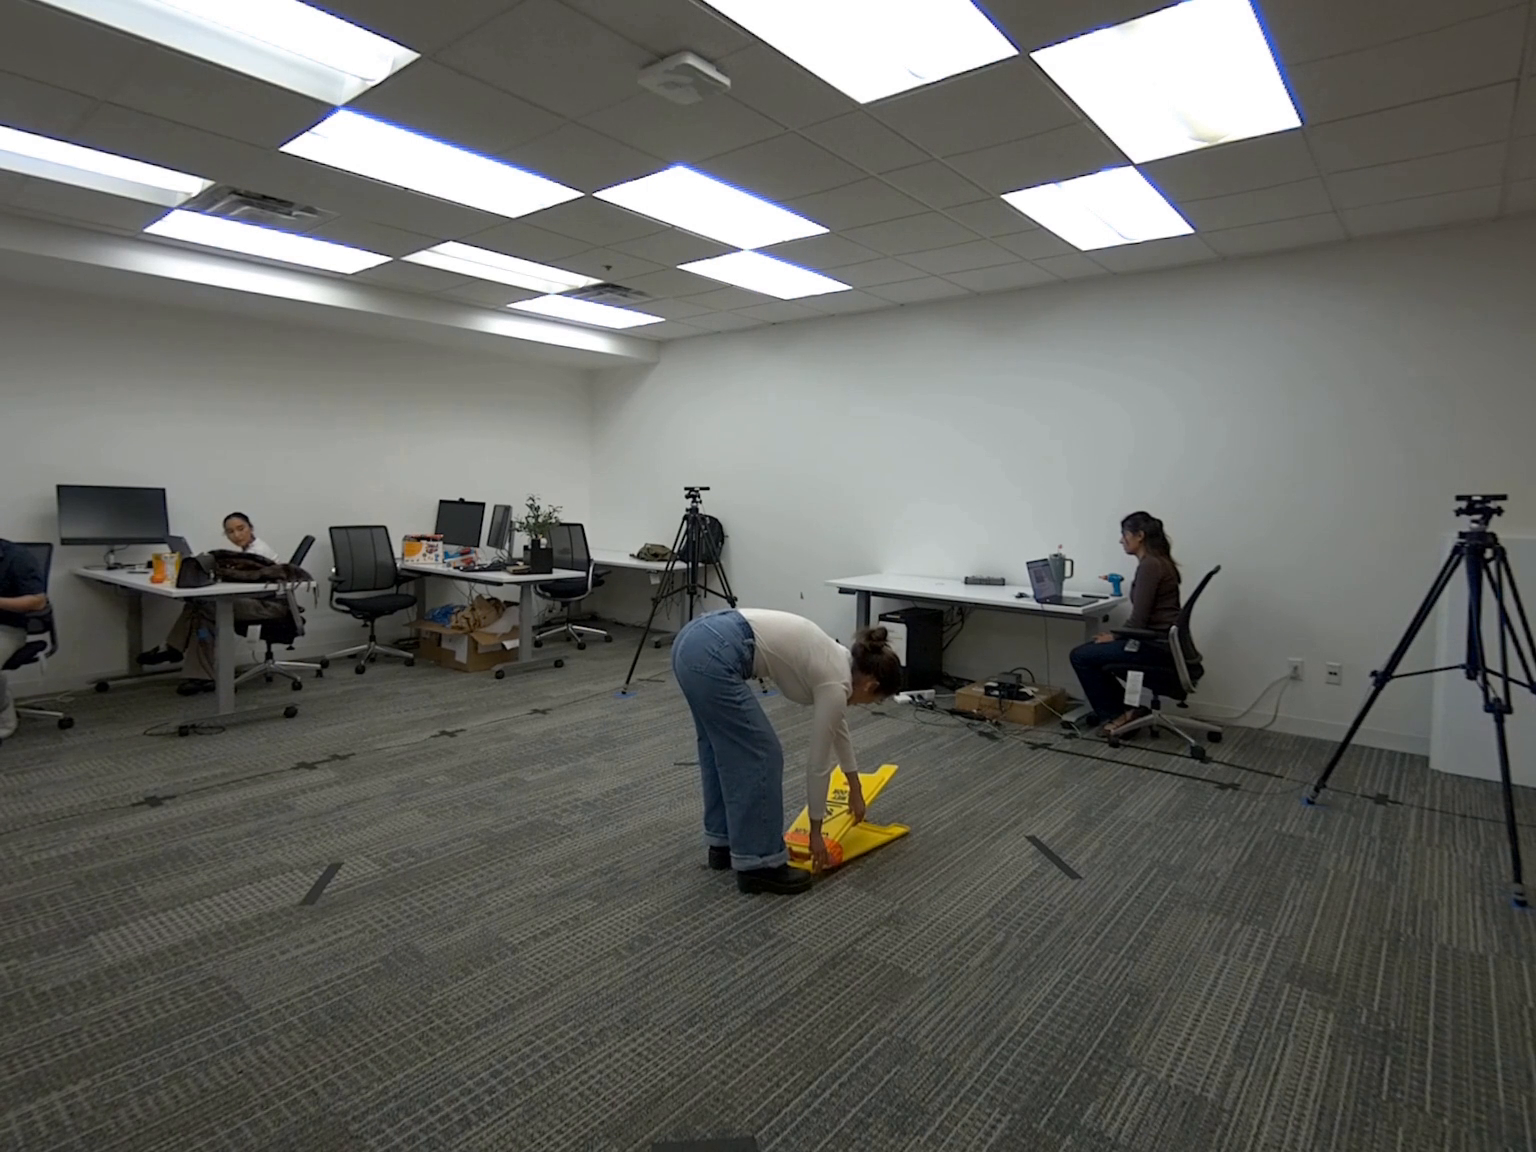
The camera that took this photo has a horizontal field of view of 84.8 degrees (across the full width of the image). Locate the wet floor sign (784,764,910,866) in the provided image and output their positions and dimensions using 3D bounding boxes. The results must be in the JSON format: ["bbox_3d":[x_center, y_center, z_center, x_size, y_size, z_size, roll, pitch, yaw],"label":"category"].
[{"bbox_3d":[0.257,0.975,3.303,0.290,0.287,0.633,-5,11,40],"label":"wet floor sign"}]
